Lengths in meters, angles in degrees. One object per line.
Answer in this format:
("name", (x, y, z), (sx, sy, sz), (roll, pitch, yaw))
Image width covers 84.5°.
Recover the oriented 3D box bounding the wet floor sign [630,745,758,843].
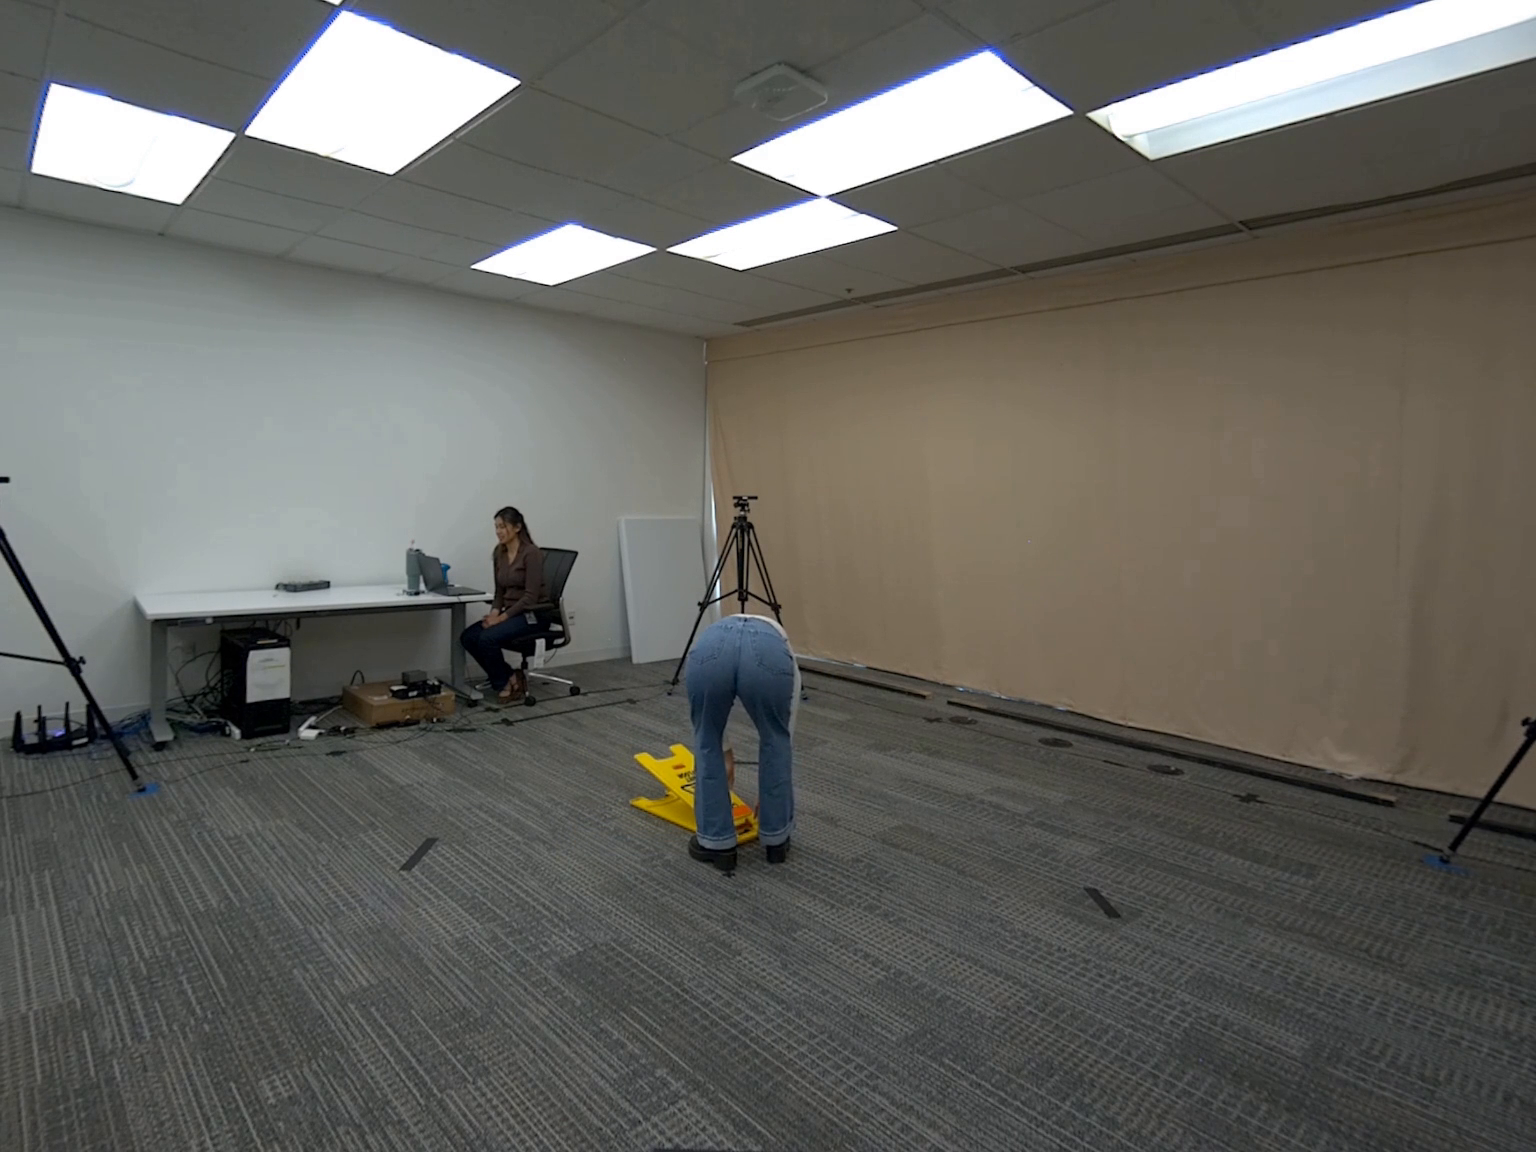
("wet floor sign", (-0.302, 0.986, 3.633), (0.276, 0.287, 0.665), (-4, 16, -43))
